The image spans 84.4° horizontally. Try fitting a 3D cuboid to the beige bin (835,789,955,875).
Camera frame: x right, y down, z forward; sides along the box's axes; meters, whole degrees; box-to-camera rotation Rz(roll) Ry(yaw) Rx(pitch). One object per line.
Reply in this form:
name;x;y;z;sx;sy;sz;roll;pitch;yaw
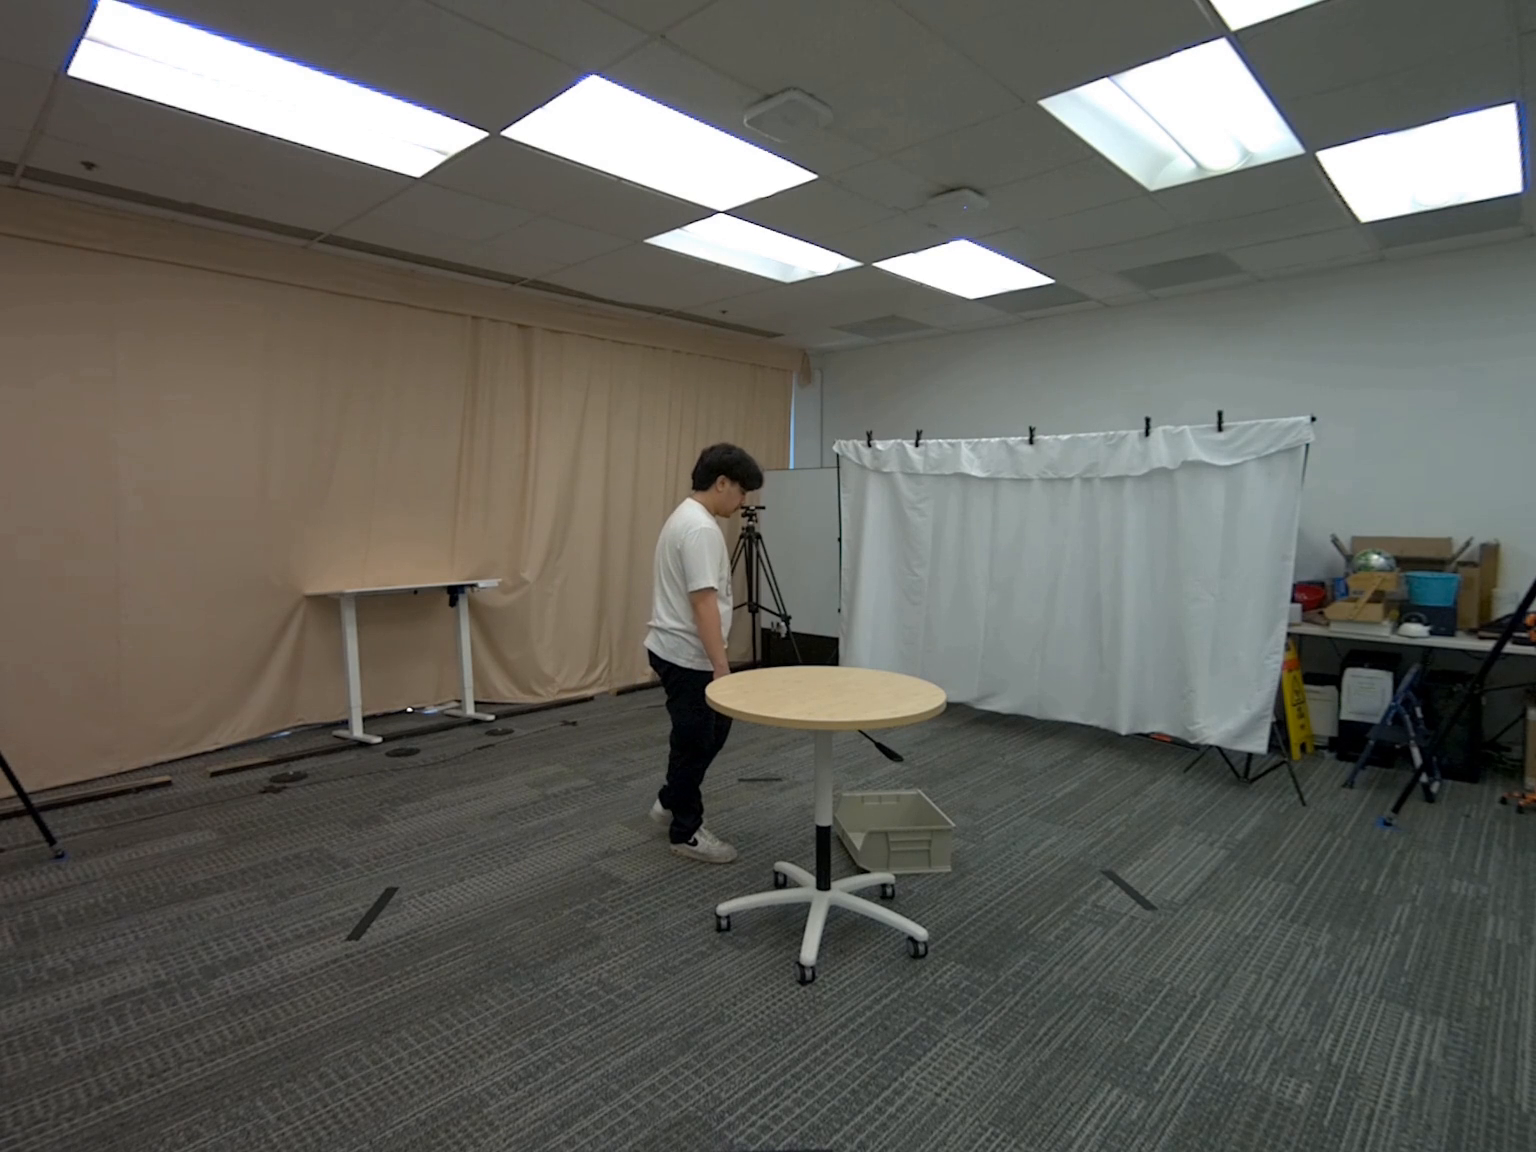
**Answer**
beige bin;0.501;1.025;3.382;0.374;0.188;0.426;0;4;-8
